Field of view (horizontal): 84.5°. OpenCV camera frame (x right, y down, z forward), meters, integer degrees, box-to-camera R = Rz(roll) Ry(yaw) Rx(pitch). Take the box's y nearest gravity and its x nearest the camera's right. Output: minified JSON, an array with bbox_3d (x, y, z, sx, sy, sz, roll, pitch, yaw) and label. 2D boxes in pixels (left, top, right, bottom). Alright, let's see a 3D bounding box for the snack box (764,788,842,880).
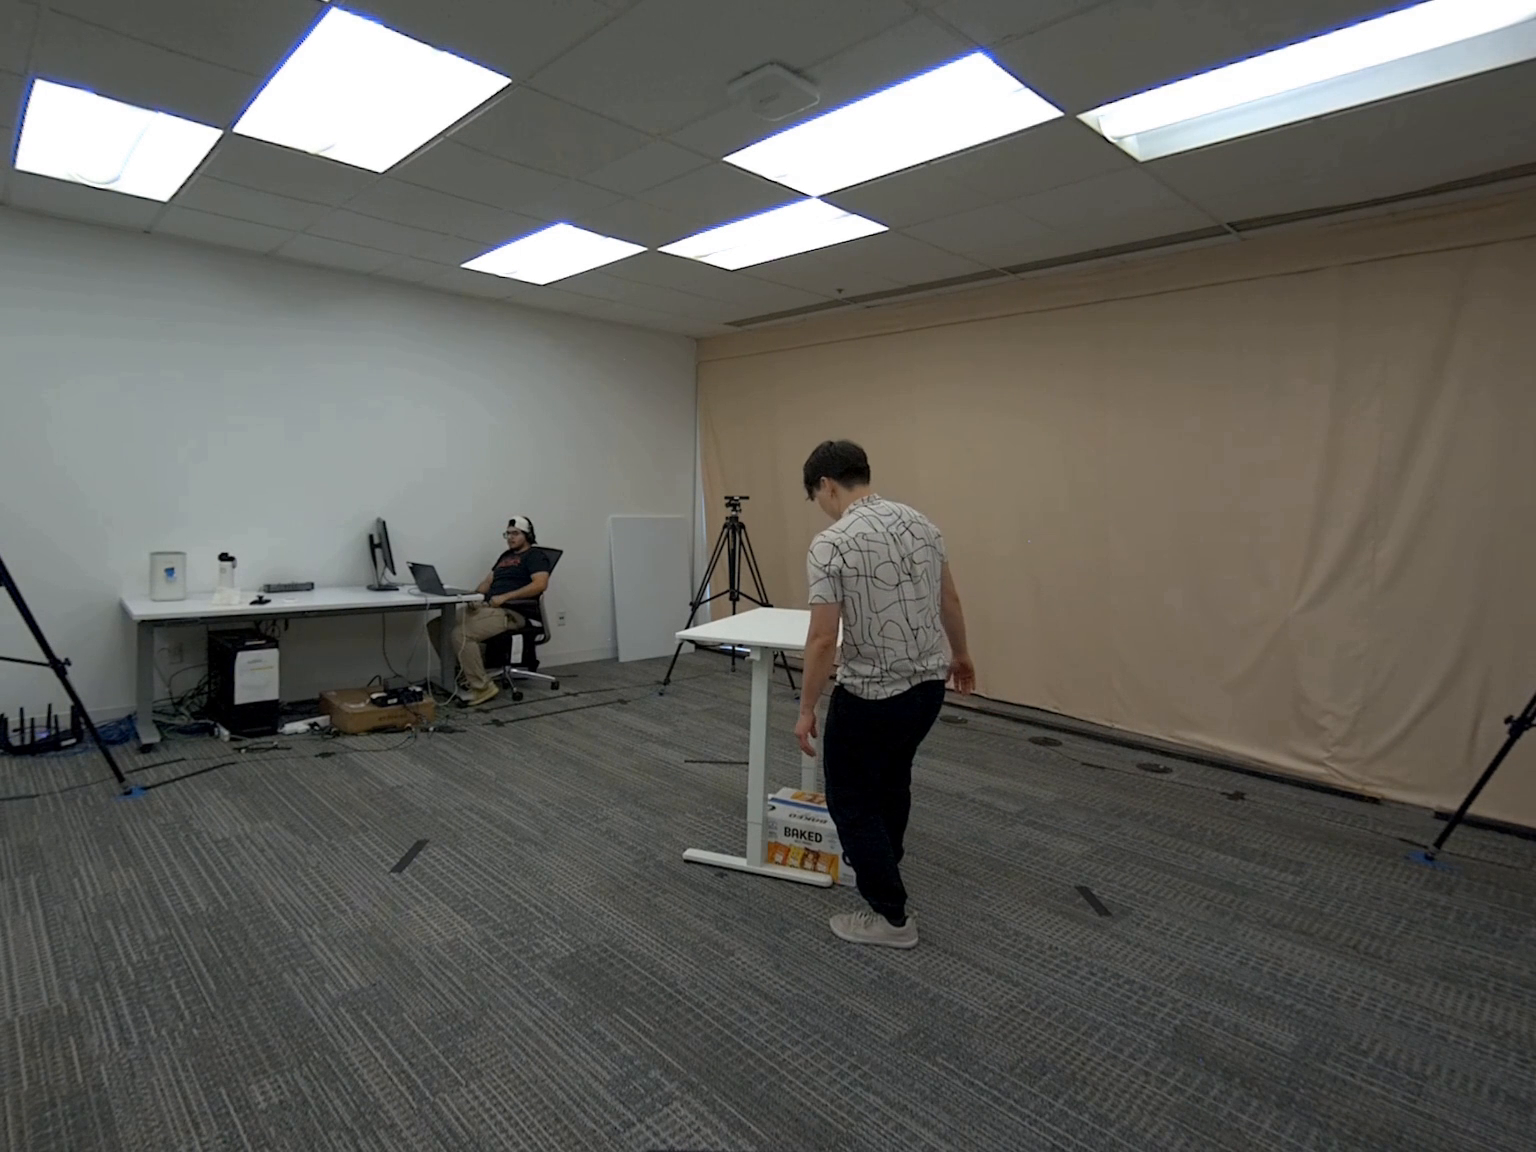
[{"bbox_3d":[0.180,0.996,3.248,0.412,0.205,0.335,3,4,22],"label":"snack box"}]
